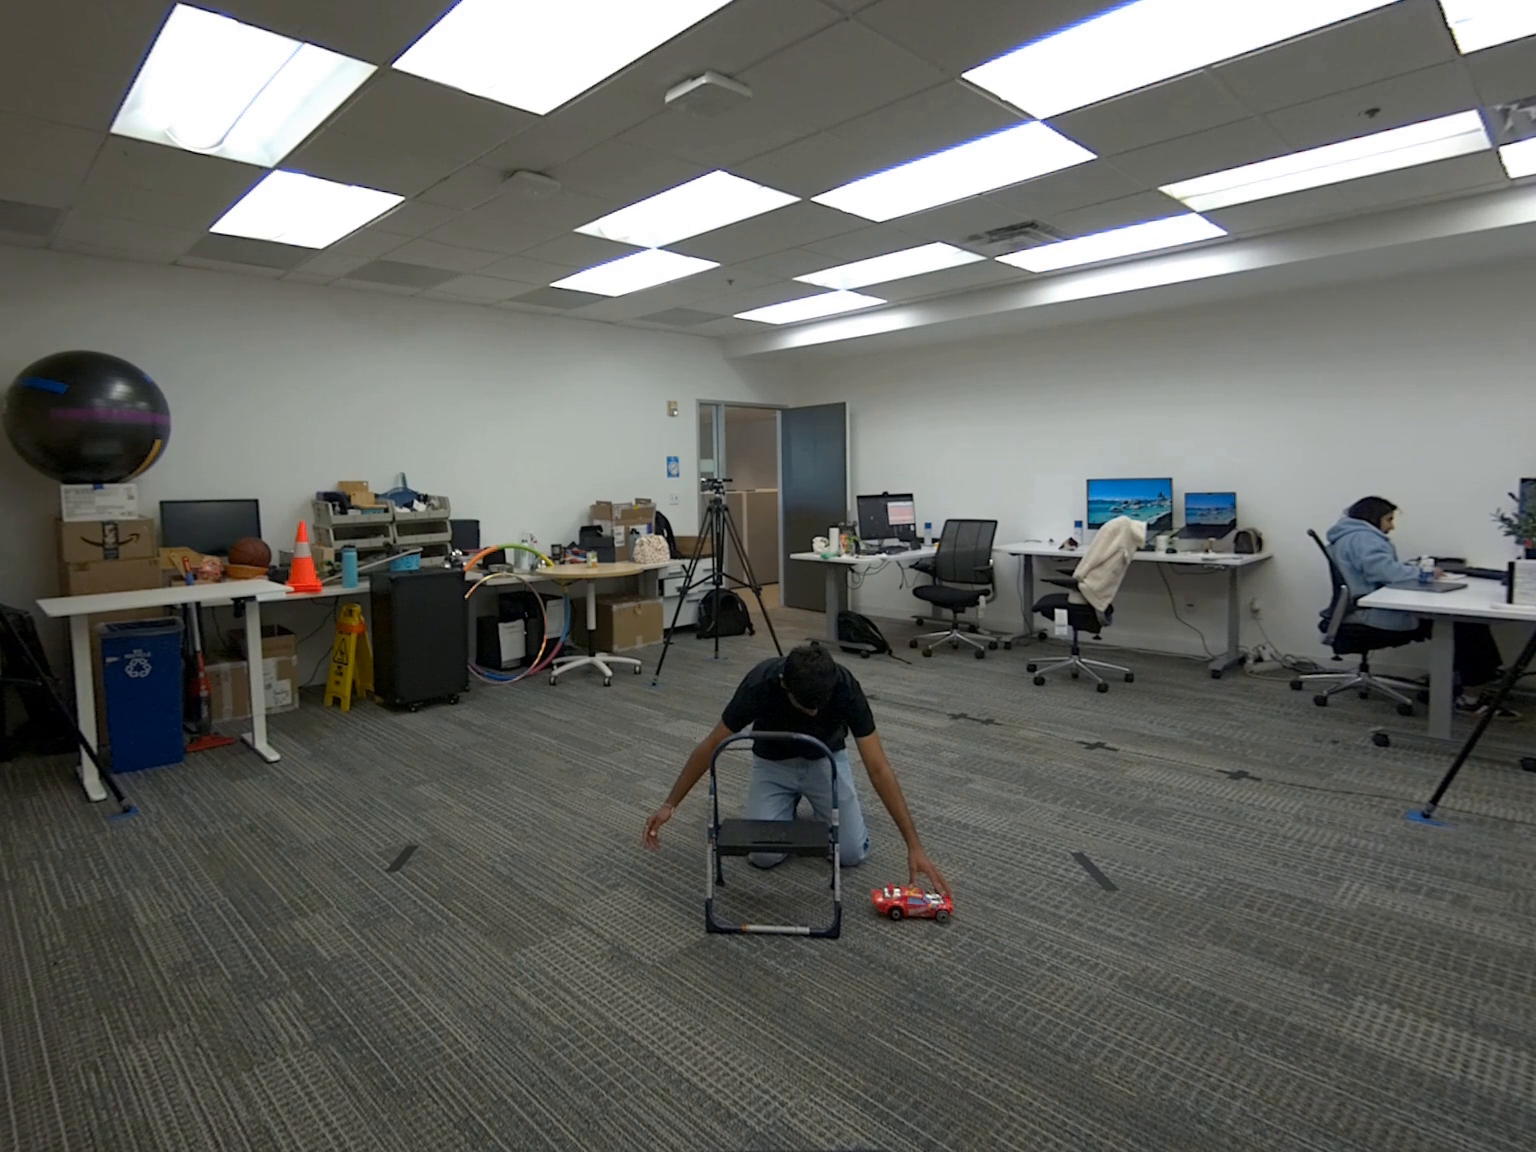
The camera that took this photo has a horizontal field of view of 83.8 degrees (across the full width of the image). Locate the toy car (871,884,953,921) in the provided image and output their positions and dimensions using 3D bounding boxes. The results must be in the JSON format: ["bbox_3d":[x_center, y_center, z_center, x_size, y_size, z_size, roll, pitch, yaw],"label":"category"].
[{"bbox_3d":[0.453,1.041,2.726,0.256,0.083,0.130,11,5,6],"label":"toy car"}]
